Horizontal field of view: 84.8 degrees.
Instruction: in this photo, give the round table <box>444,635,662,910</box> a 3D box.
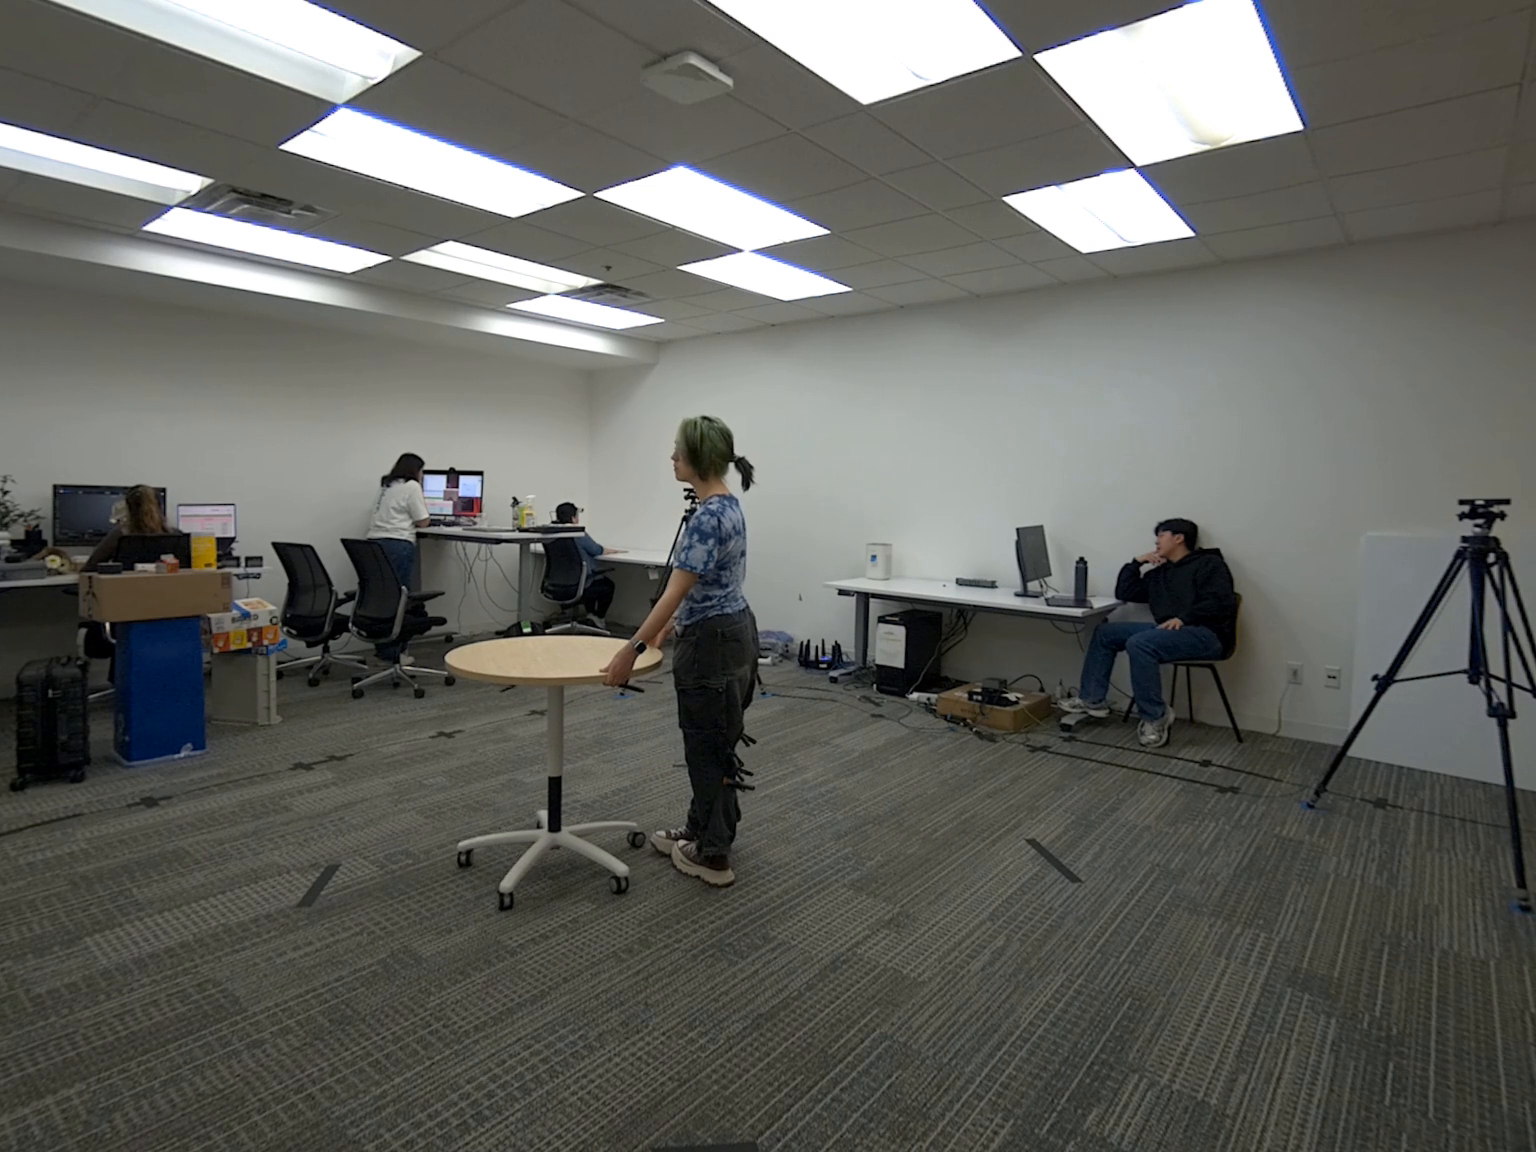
[{"bbox_3d":[-0.780,0.675,3.078,0.763,0.791,0.768,1,4,-2],"label":"round table"}]
